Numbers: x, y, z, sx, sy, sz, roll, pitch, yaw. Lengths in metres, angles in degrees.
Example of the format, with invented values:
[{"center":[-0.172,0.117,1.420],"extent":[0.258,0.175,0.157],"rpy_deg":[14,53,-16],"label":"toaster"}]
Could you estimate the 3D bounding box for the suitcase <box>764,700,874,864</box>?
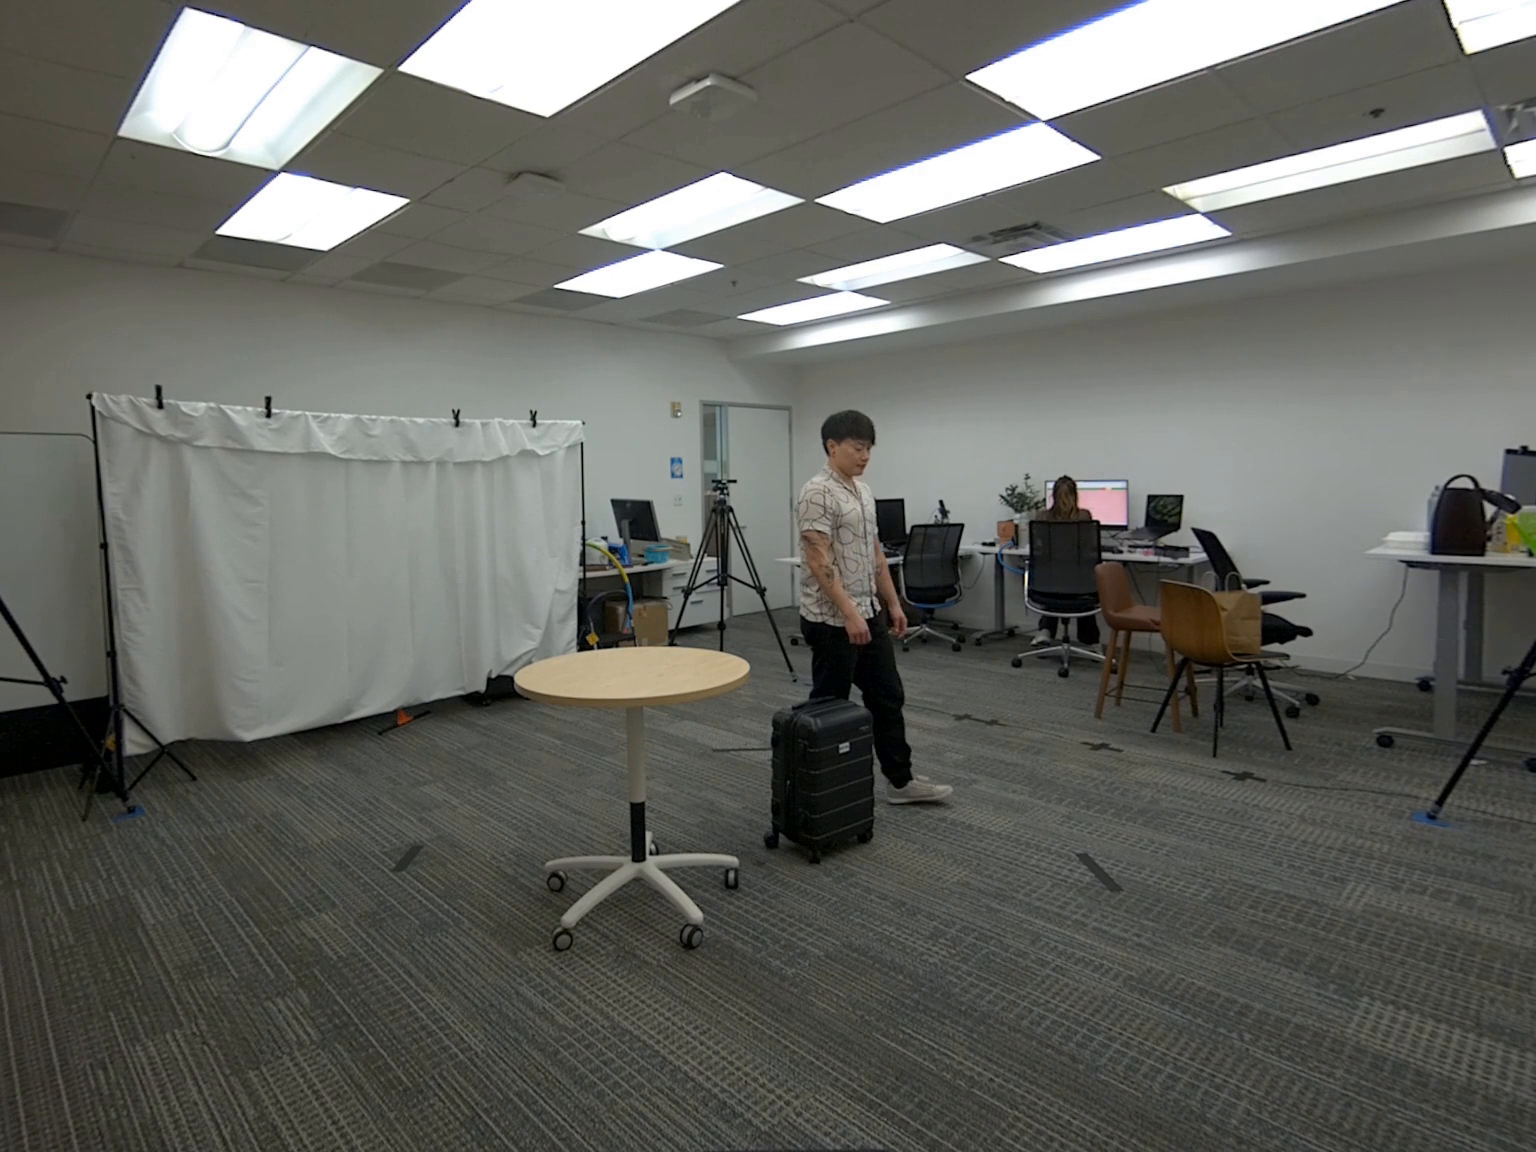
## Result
[{"center":[0.209,0.751,3.252],"extent":[0.365,0.547,0.256],"rpy_deg":[-3,5,-41],"label":"suitcase"}]
